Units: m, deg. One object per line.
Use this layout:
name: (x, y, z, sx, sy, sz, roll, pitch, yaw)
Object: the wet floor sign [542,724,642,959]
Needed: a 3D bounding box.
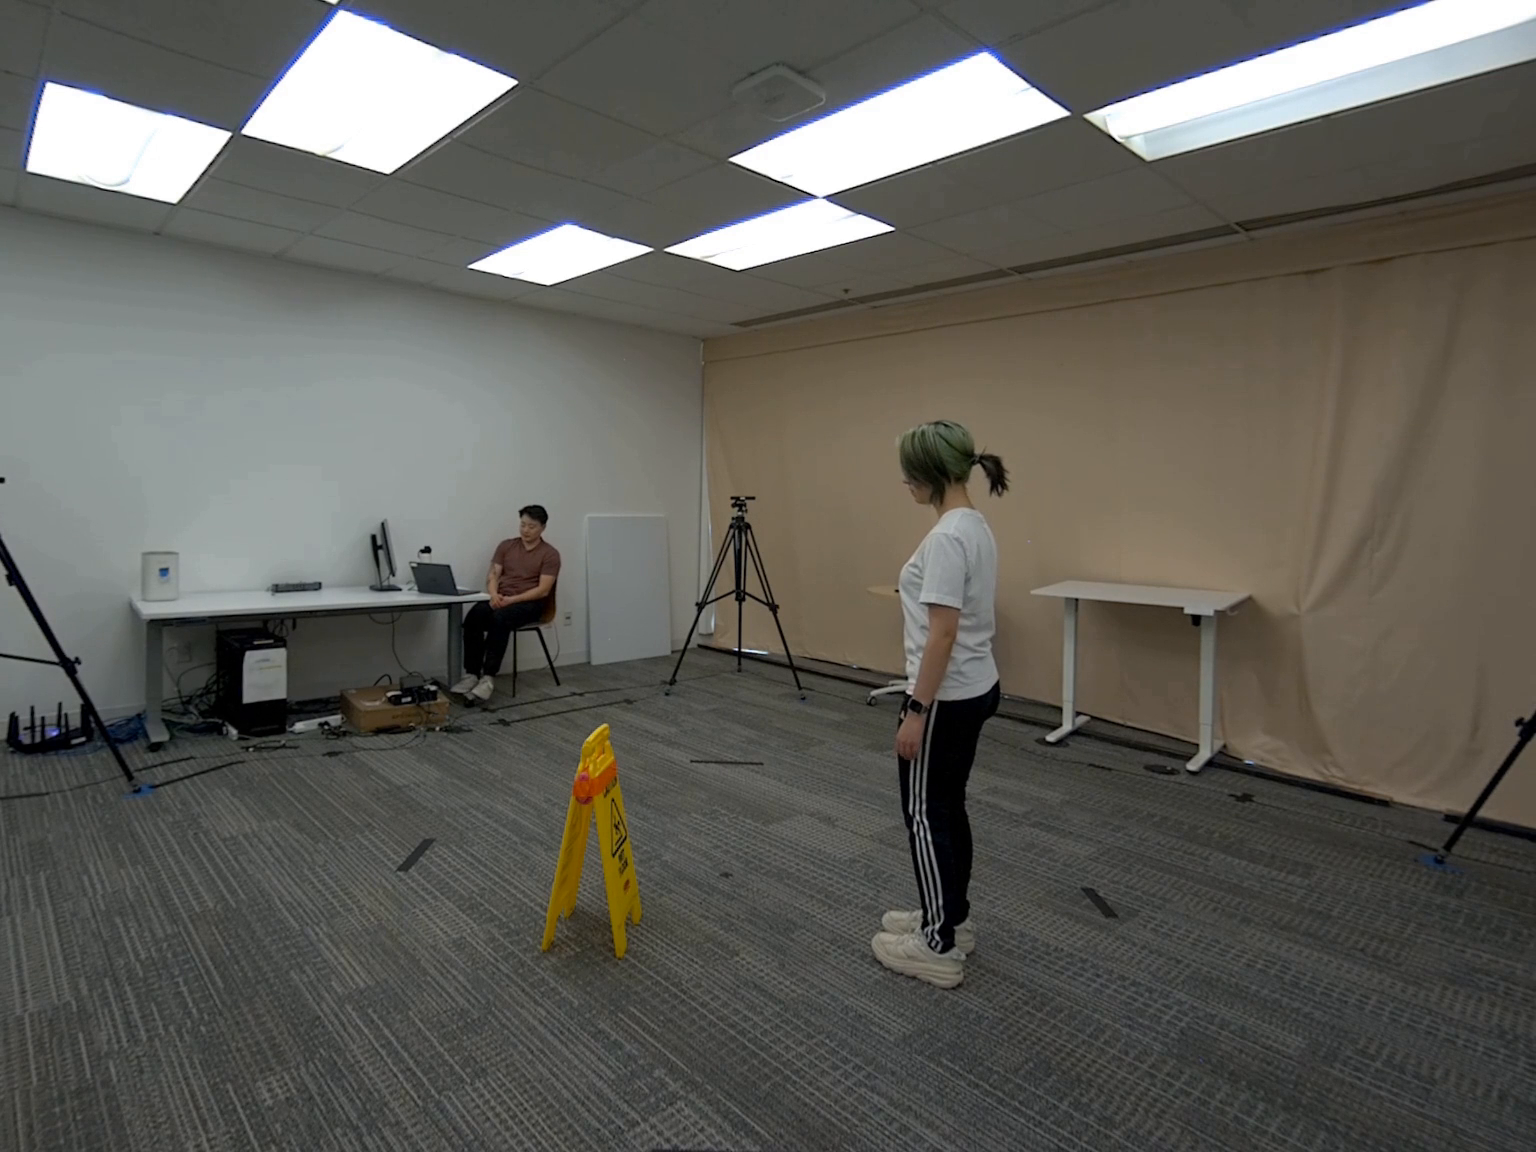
wet floor sign: (-0.547, 0.811, 2.643, 0.291, 0.644, 0.282, 1, 5, 6)
